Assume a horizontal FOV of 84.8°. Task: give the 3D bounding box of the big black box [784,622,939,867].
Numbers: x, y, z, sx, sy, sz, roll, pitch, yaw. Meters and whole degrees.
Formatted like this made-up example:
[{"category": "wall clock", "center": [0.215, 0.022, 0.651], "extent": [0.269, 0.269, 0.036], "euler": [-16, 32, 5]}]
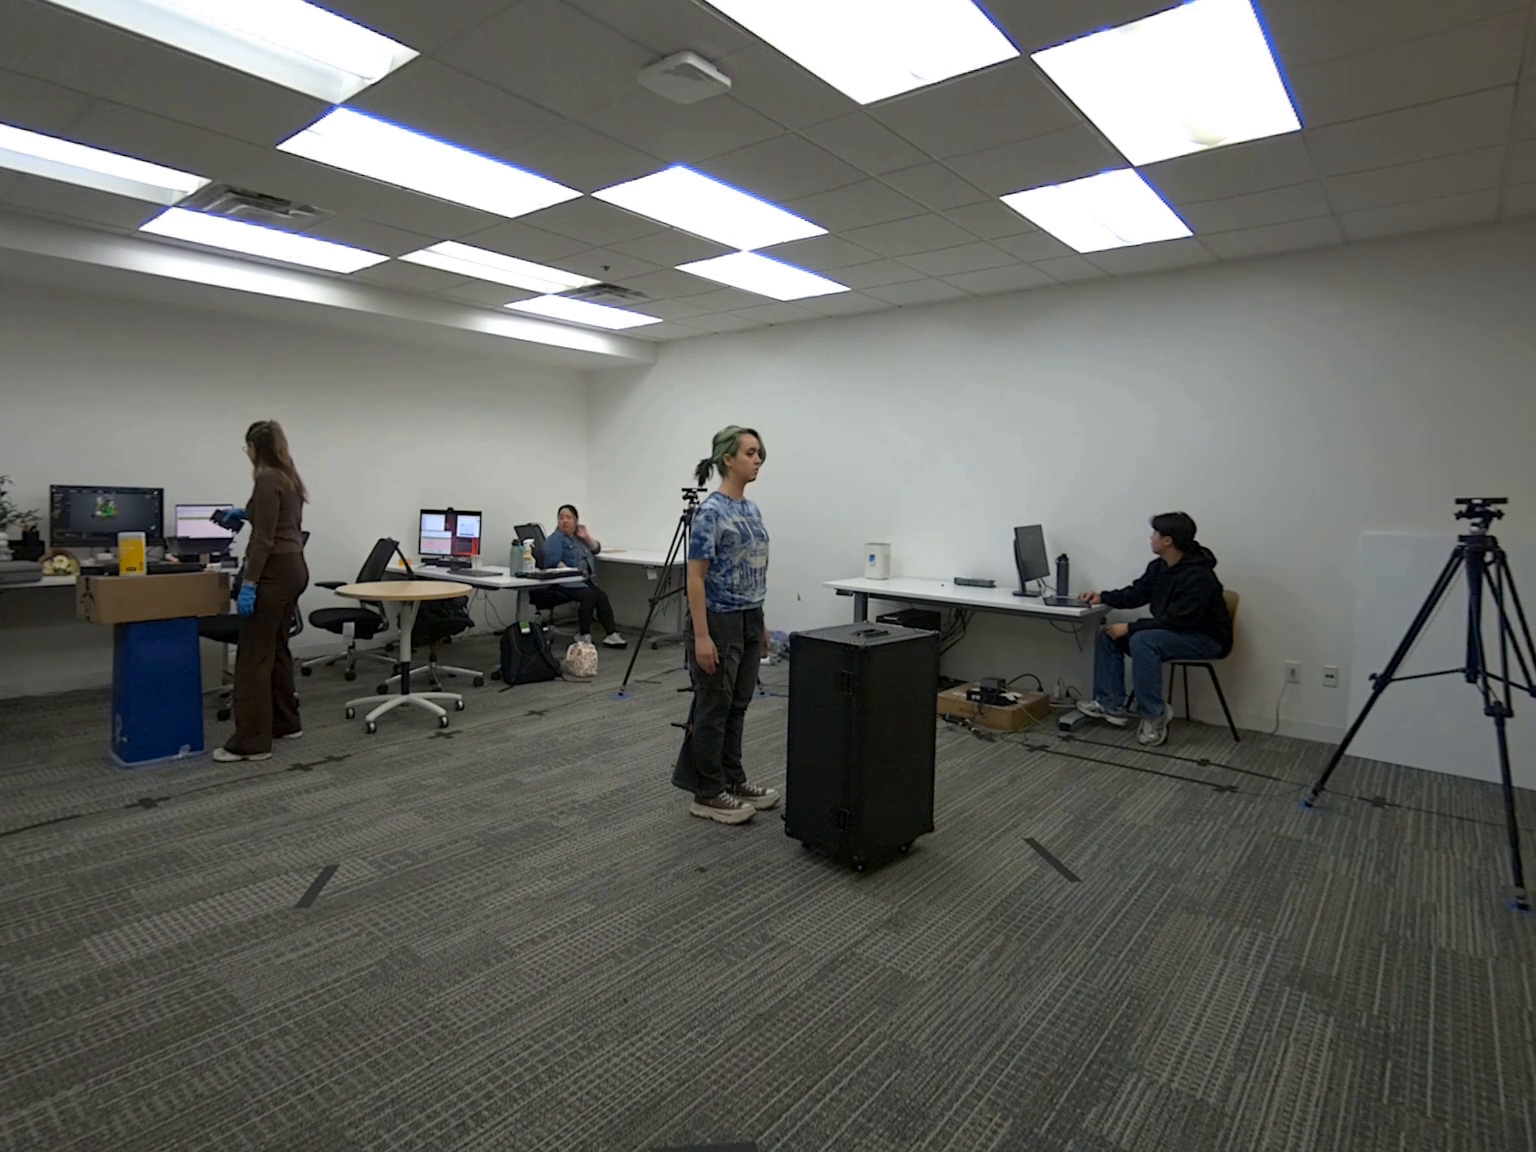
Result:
[{"category": "big black box", "center": [0.345, 0.638, 3.286], "extent": [0.505, 0.859, 0.410], "euler": [-2, 4, -45]}]
